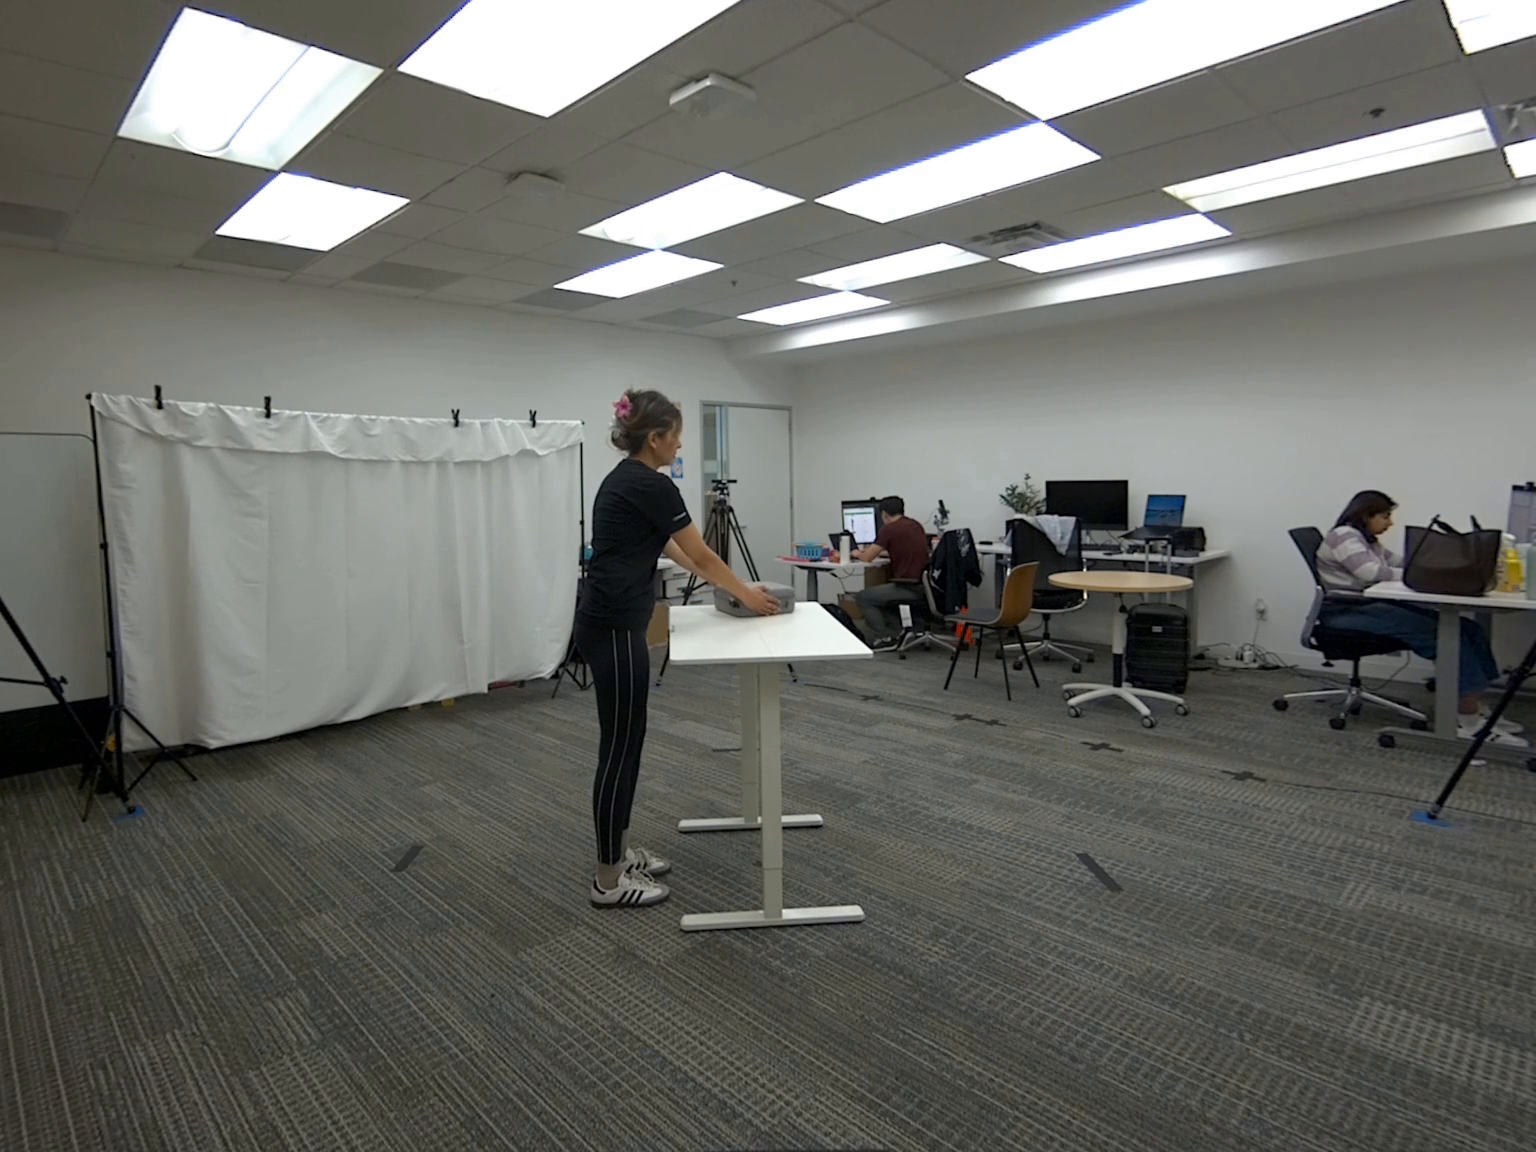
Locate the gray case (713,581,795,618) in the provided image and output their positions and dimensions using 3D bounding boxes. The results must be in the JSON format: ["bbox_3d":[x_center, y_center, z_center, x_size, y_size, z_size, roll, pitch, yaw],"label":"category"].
[{"bbox_3d":[-0.049,0.086,3.324,0.255,0.104,0.263,-3,6,-23],"label":"gray case"}]
